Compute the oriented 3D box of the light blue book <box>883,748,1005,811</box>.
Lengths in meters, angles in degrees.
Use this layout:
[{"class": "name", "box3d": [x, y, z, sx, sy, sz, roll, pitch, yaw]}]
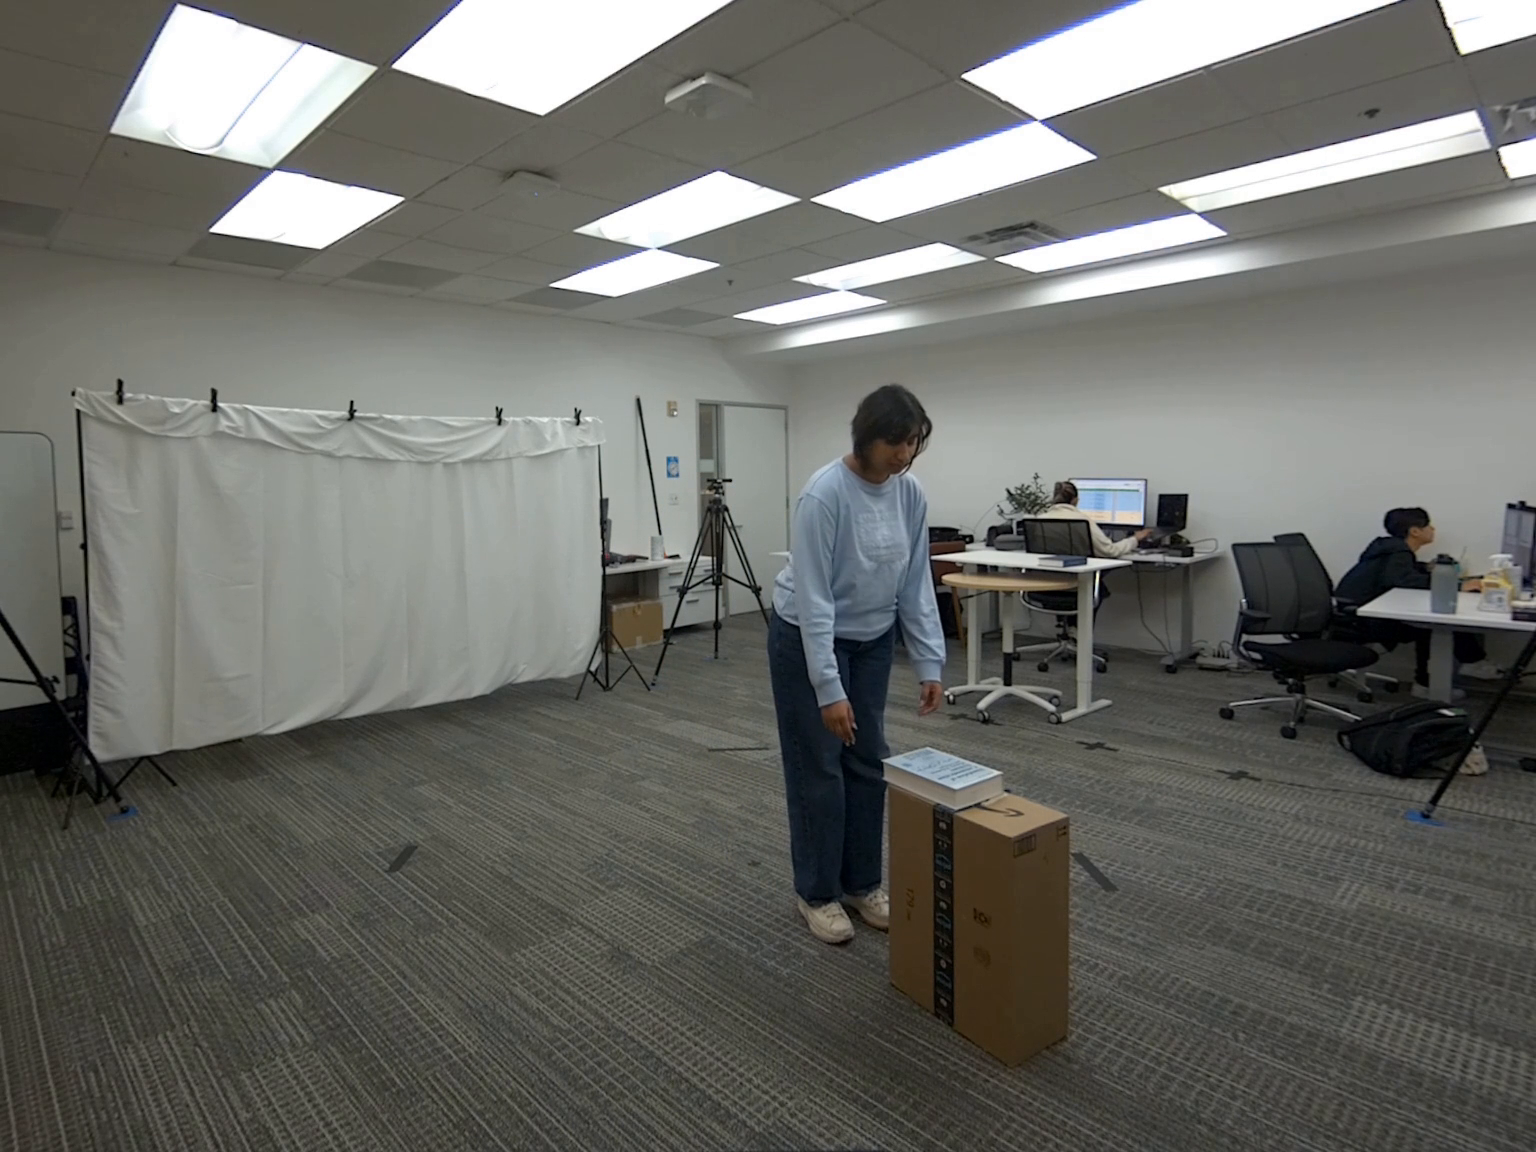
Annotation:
[{"class": "light blue book", "box3d": [0.463, 0.535, 2.292, 0.187, 0.059, 0.269, -7, 9, -36]}]
